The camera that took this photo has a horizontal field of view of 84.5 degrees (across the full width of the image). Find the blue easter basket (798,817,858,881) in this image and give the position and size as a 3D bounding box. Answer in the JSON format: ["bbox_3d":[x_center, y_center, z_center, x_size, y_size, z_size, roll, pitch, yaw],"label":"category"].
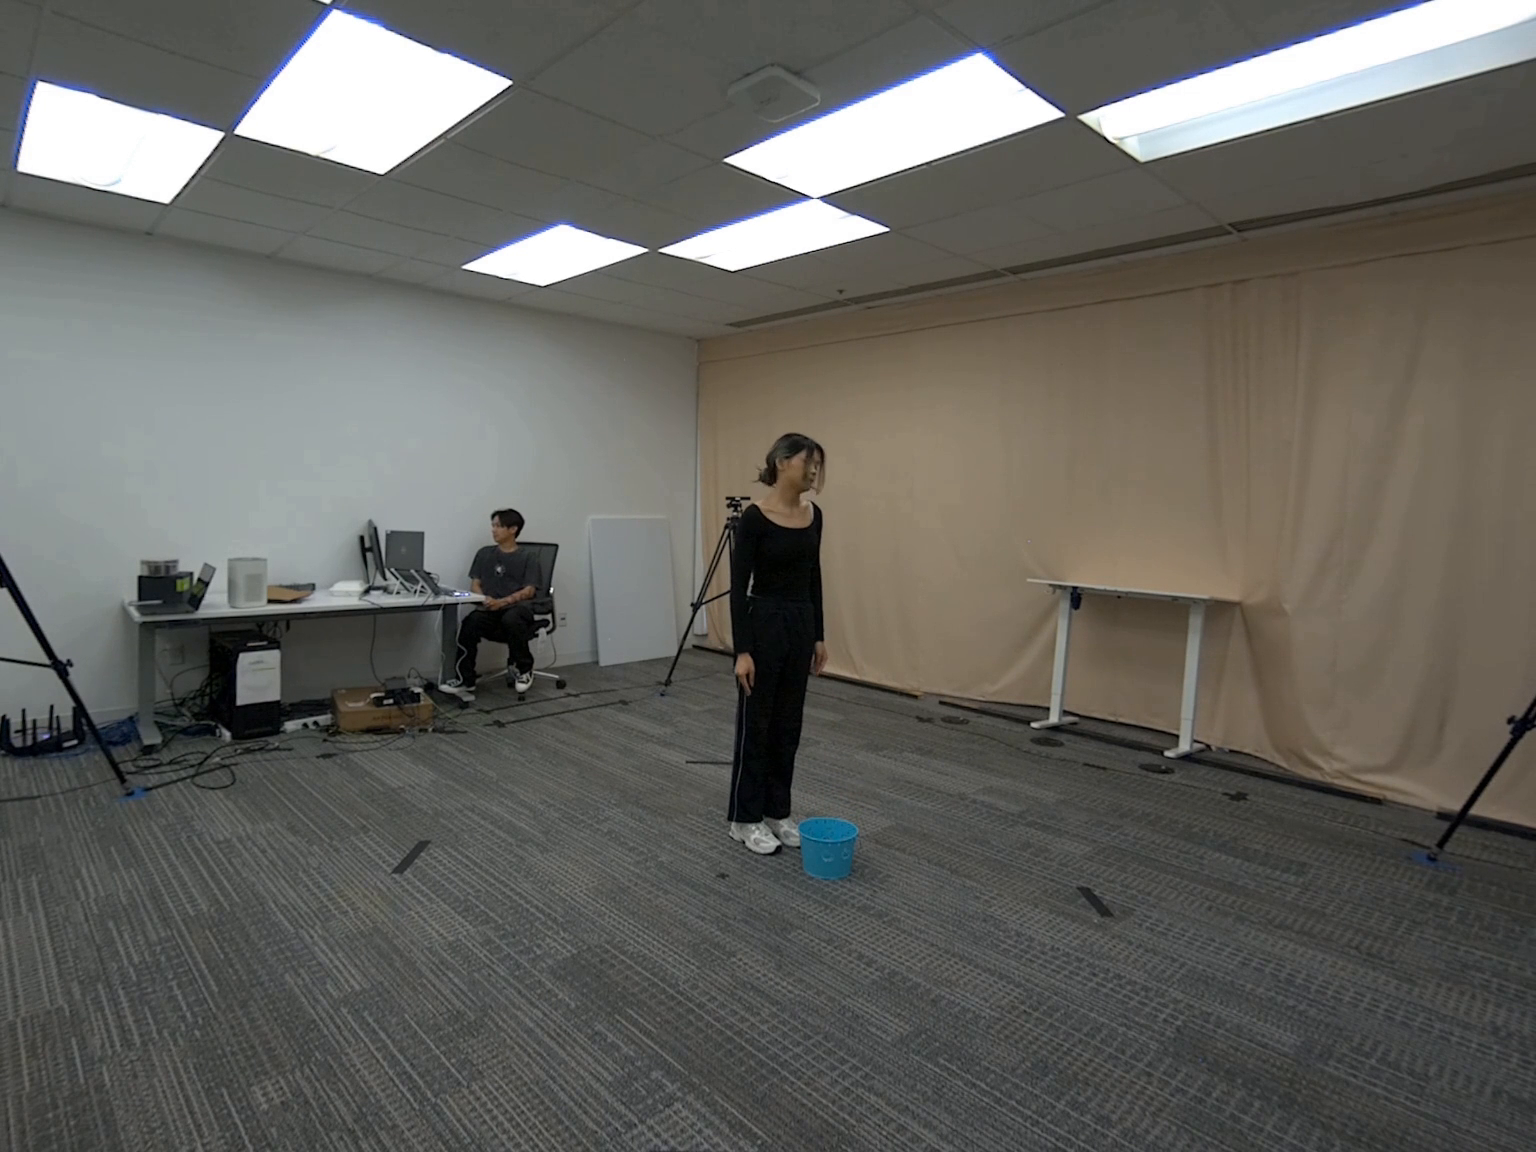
[{"bbox_3d":[0.213,1.030,3.180,0.243,0.155,0.244,1,4,-1],"label":"blue easter basket"}]
